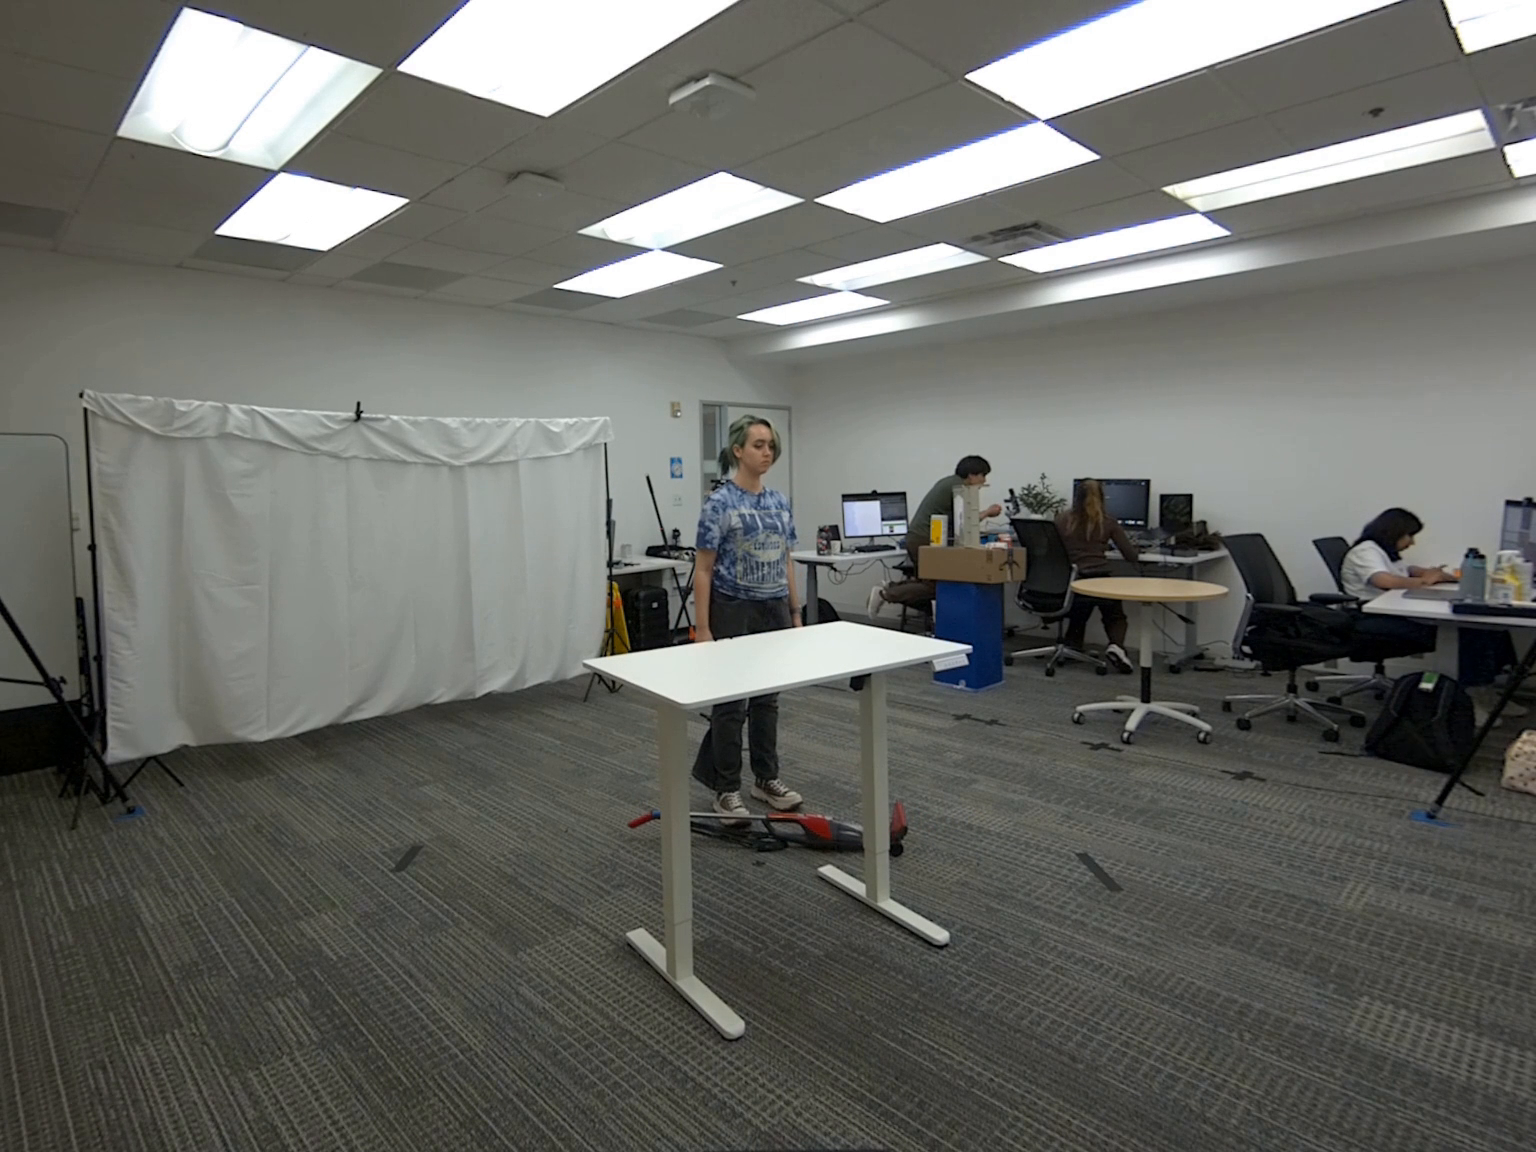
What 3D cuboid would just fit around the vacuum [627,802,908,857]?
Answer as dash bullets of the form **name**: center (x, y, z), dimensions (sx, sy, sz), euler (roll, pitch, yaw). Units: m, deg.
- **vacuum**: center (-0.018, 0.968, 3.252), dimensions (1.054, 0.143, 0.252), euler (-2, 5, 5)
